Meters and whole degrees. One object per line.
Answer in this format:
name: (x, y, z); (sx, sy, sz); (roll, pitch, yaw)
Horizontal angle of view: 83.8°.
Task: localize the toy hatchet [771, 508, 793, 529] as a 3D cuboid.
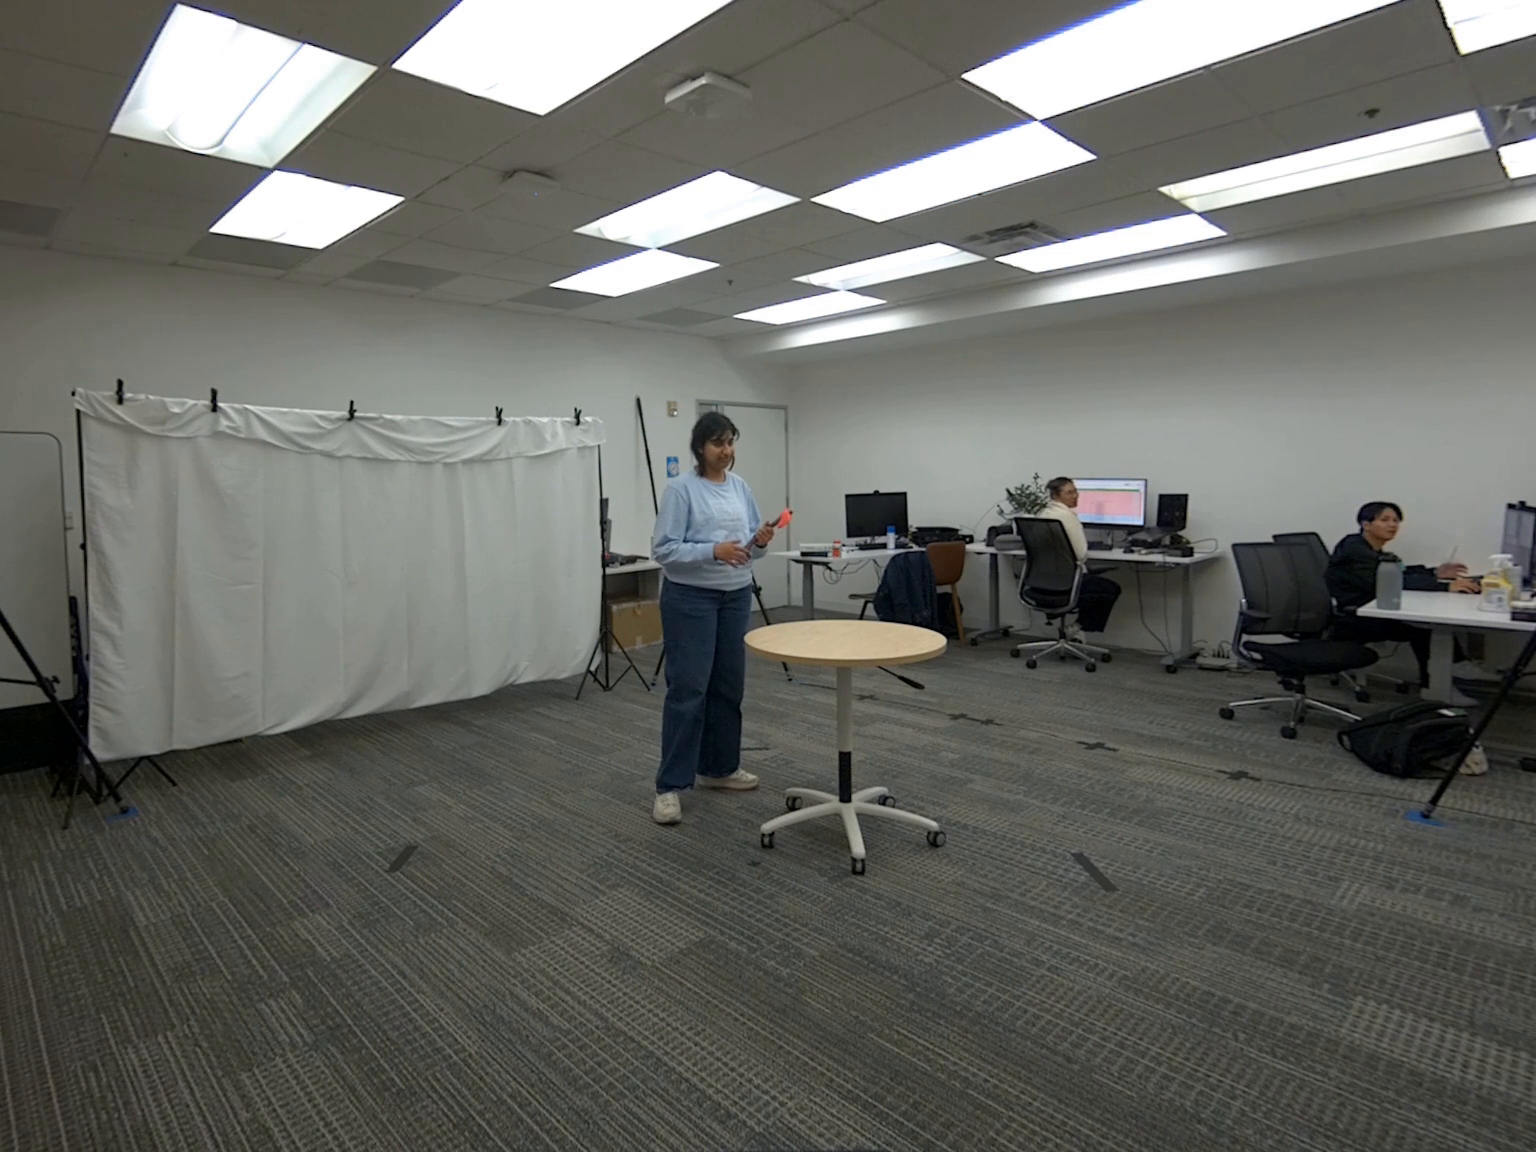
toy hatchet: (0.008, -0.181, 3.587); (0.270, 0.029, 0.135); (-42, 26, 3)
